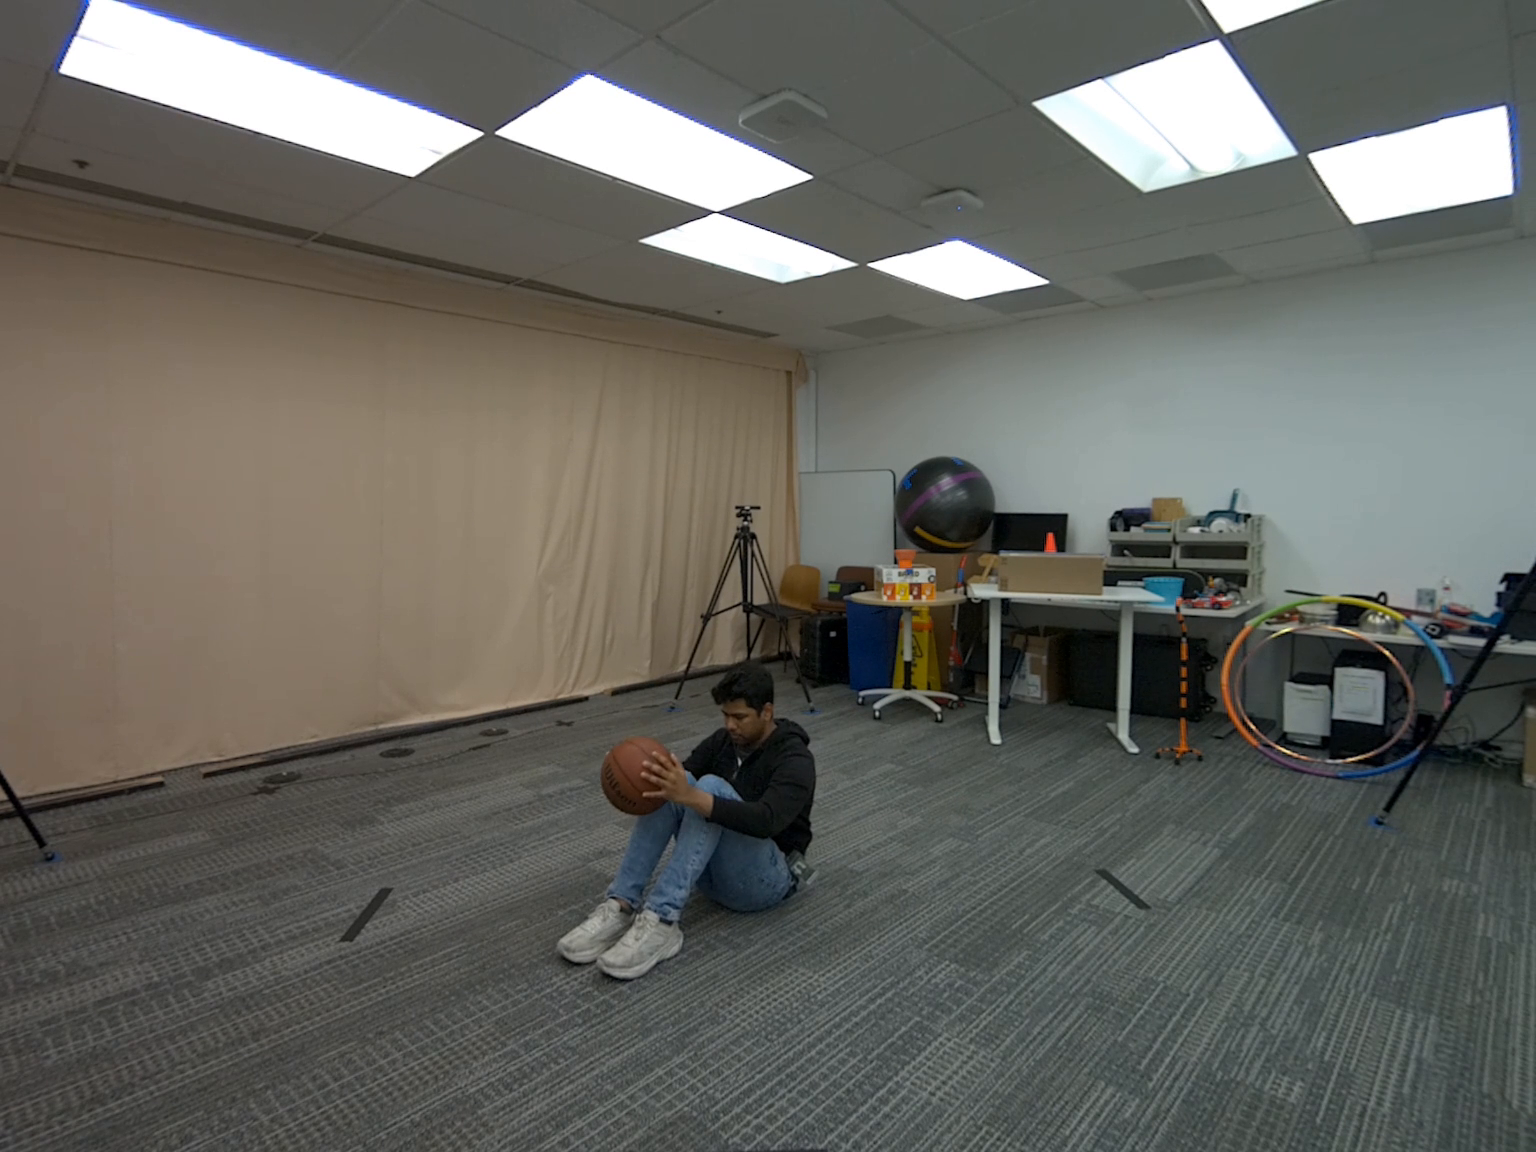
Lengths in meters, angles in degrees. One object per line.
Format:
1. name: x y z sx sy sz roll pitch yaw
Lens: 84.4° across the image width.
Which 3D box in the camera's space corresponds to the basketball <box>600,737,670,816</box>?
1. basketball: -0.396 0.633 2.647 0.236 0.235 0.237 0 4 -2
